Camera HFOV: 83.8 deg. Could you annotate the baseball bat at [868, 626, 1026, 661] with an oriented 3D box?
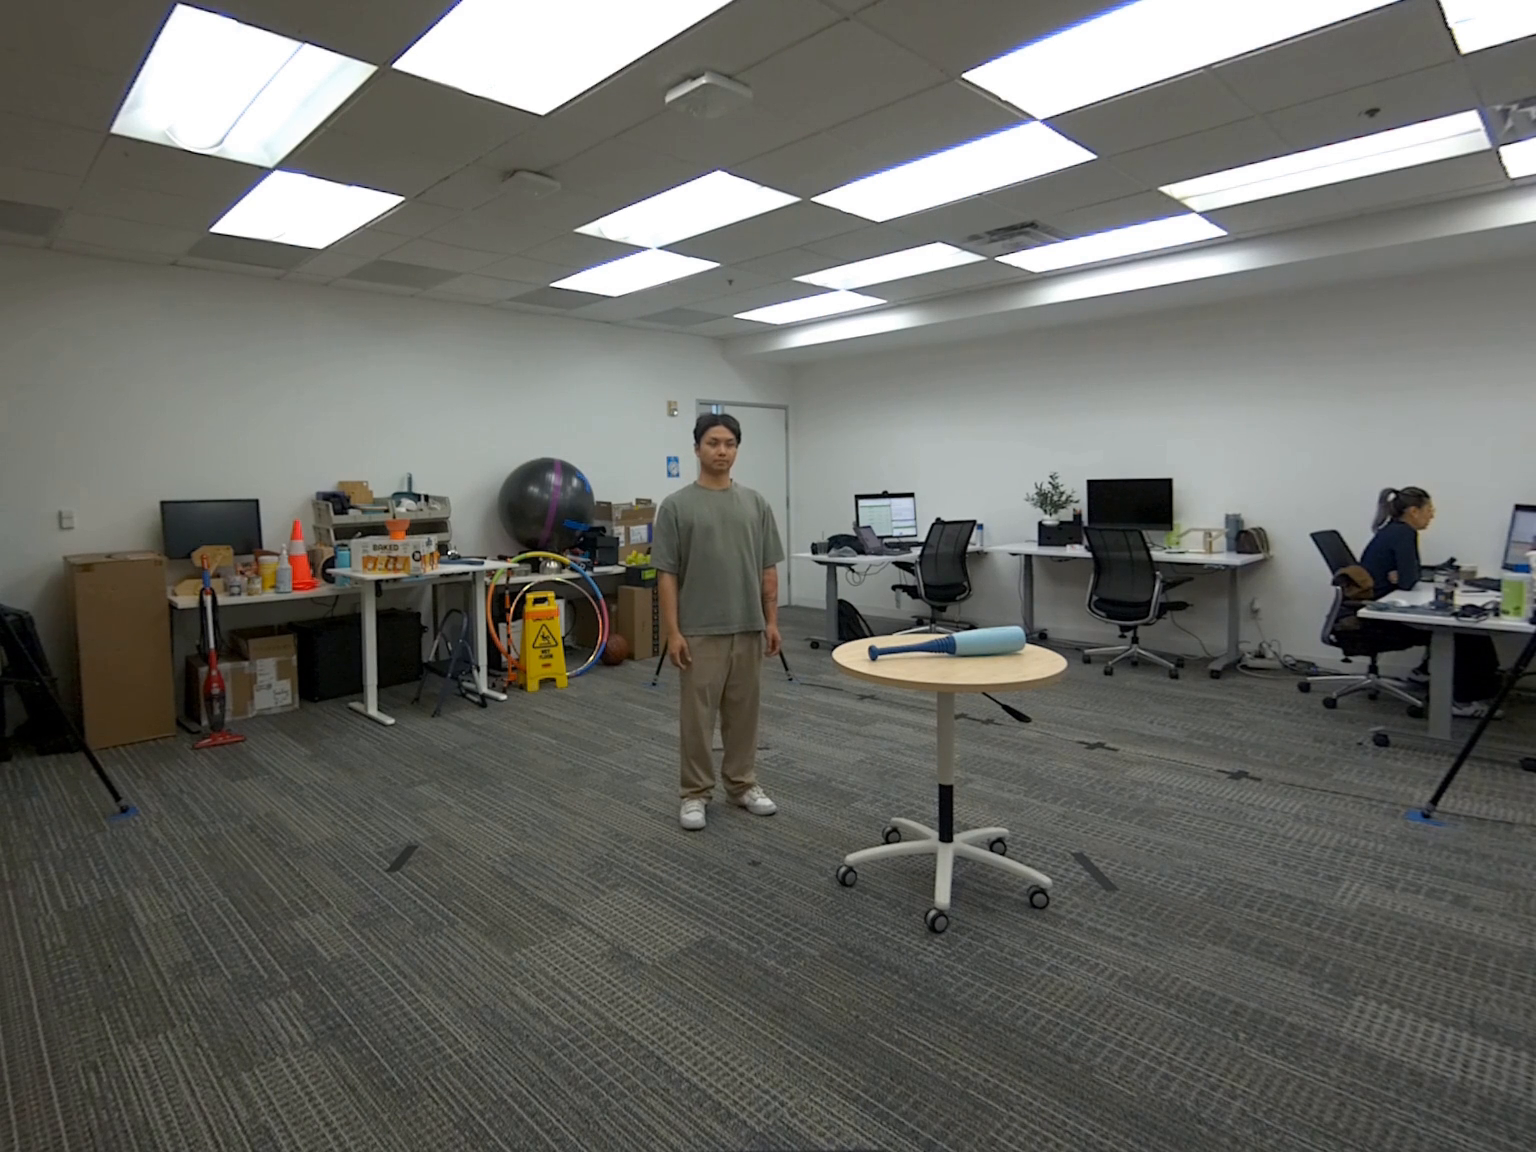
[{"bbox_3d":[0.611,0.237,2.882,0.538,0.088,0.090,-5,6,-11],"label":"baseball bat"}]
